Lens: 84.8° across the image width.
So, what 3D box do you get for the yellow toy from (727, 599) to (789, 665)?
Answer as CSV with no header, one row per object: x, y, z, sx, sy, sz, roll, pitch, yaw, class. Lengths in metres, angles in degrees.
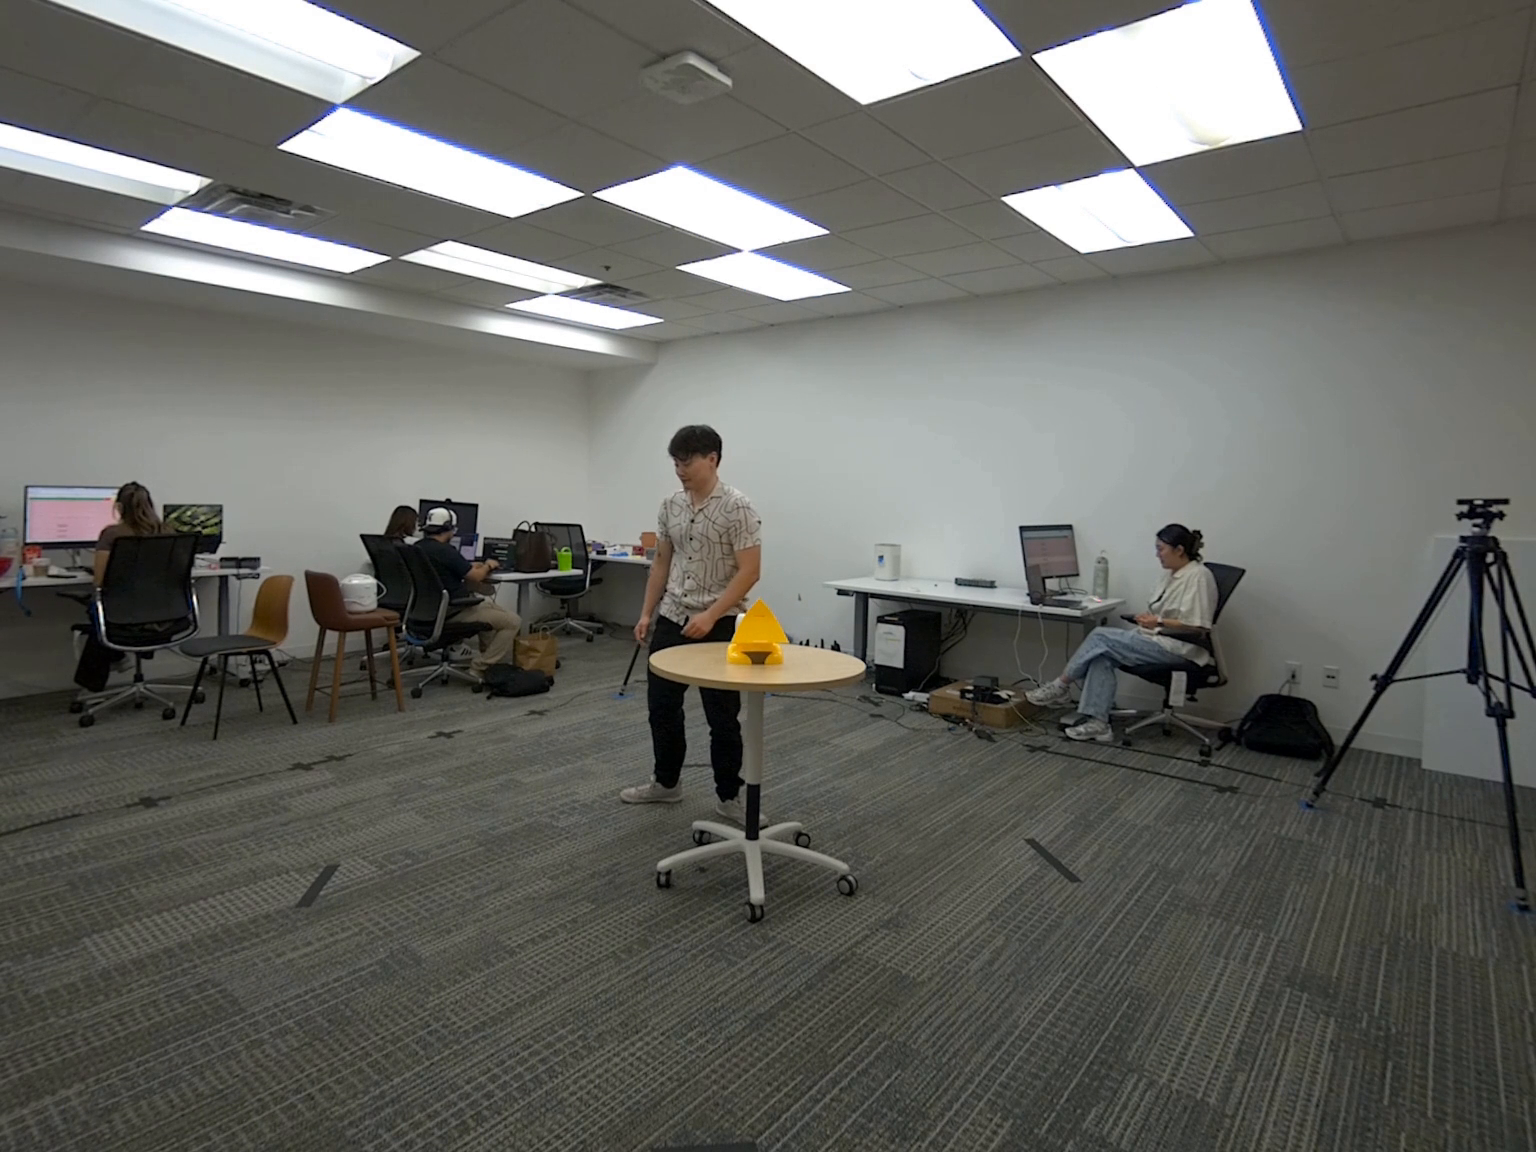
-0.055,0.183,3.019,0.203,0.230,0.195,0,4,-9,yellow toy
